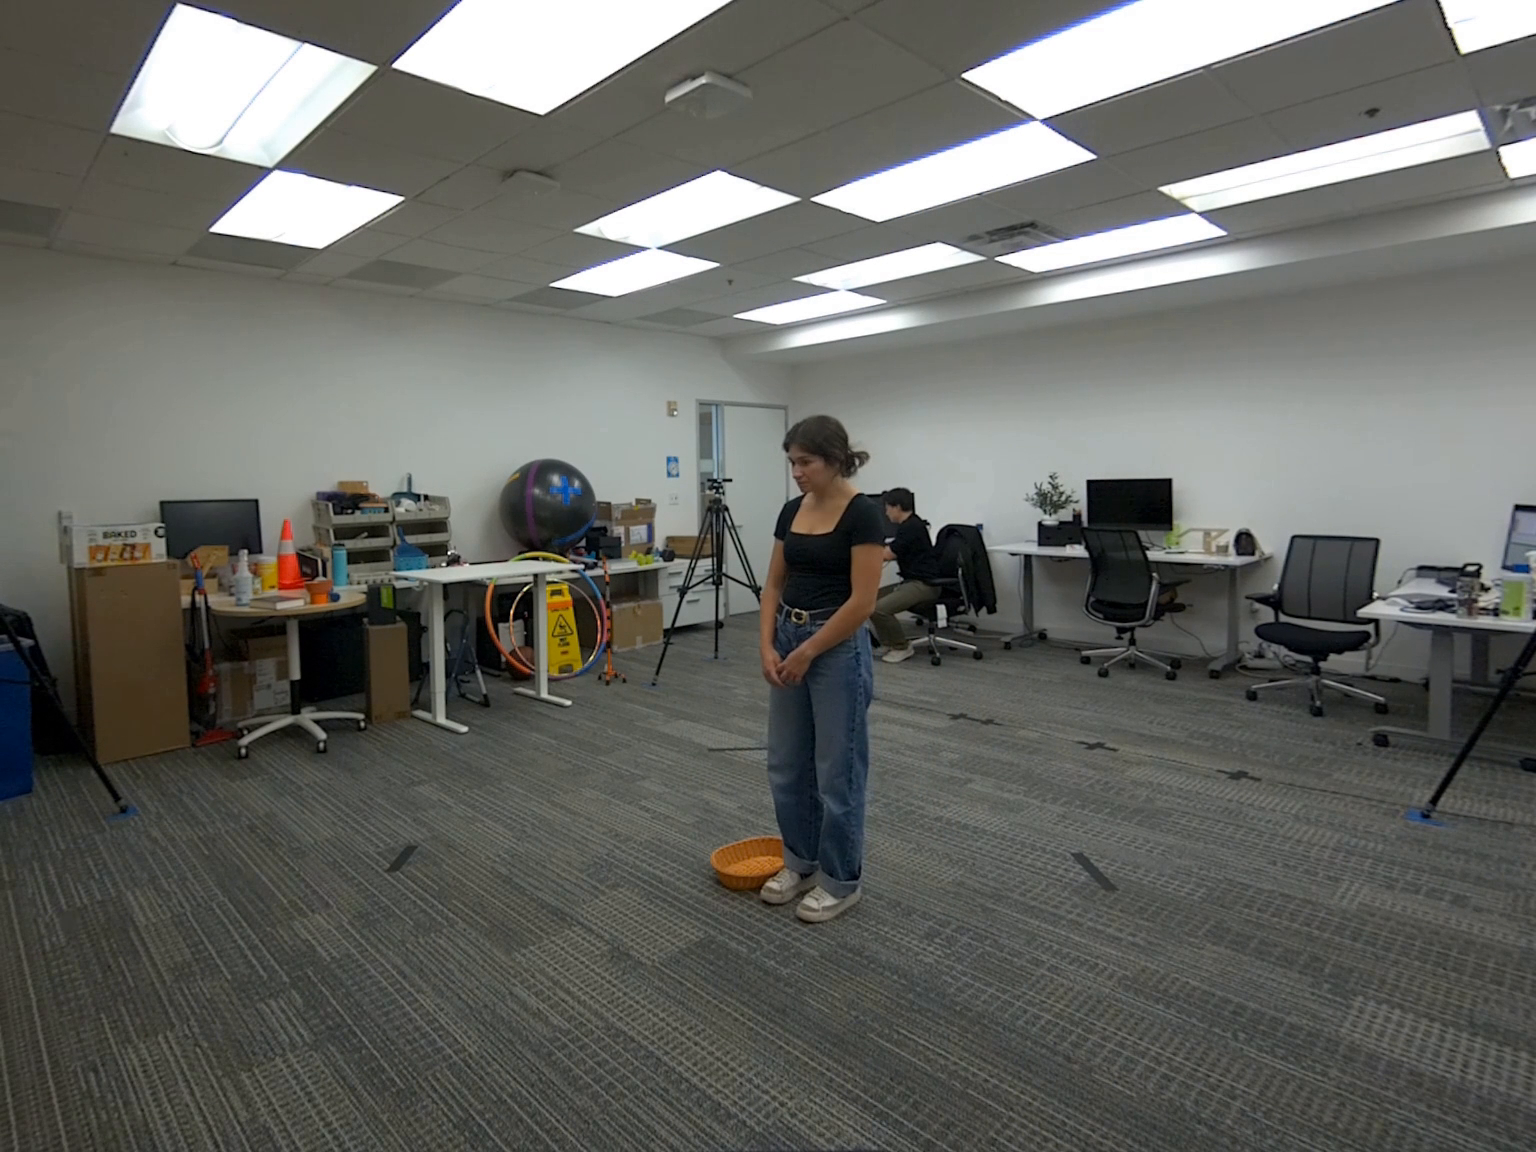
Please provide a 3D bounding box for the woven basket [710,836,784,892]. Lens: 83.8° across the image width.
[{"bbox_3d":[-0.038,1.016,3.017,0.342,0.073,0.260,-4,8,-33],"label":"woven basket"}]
